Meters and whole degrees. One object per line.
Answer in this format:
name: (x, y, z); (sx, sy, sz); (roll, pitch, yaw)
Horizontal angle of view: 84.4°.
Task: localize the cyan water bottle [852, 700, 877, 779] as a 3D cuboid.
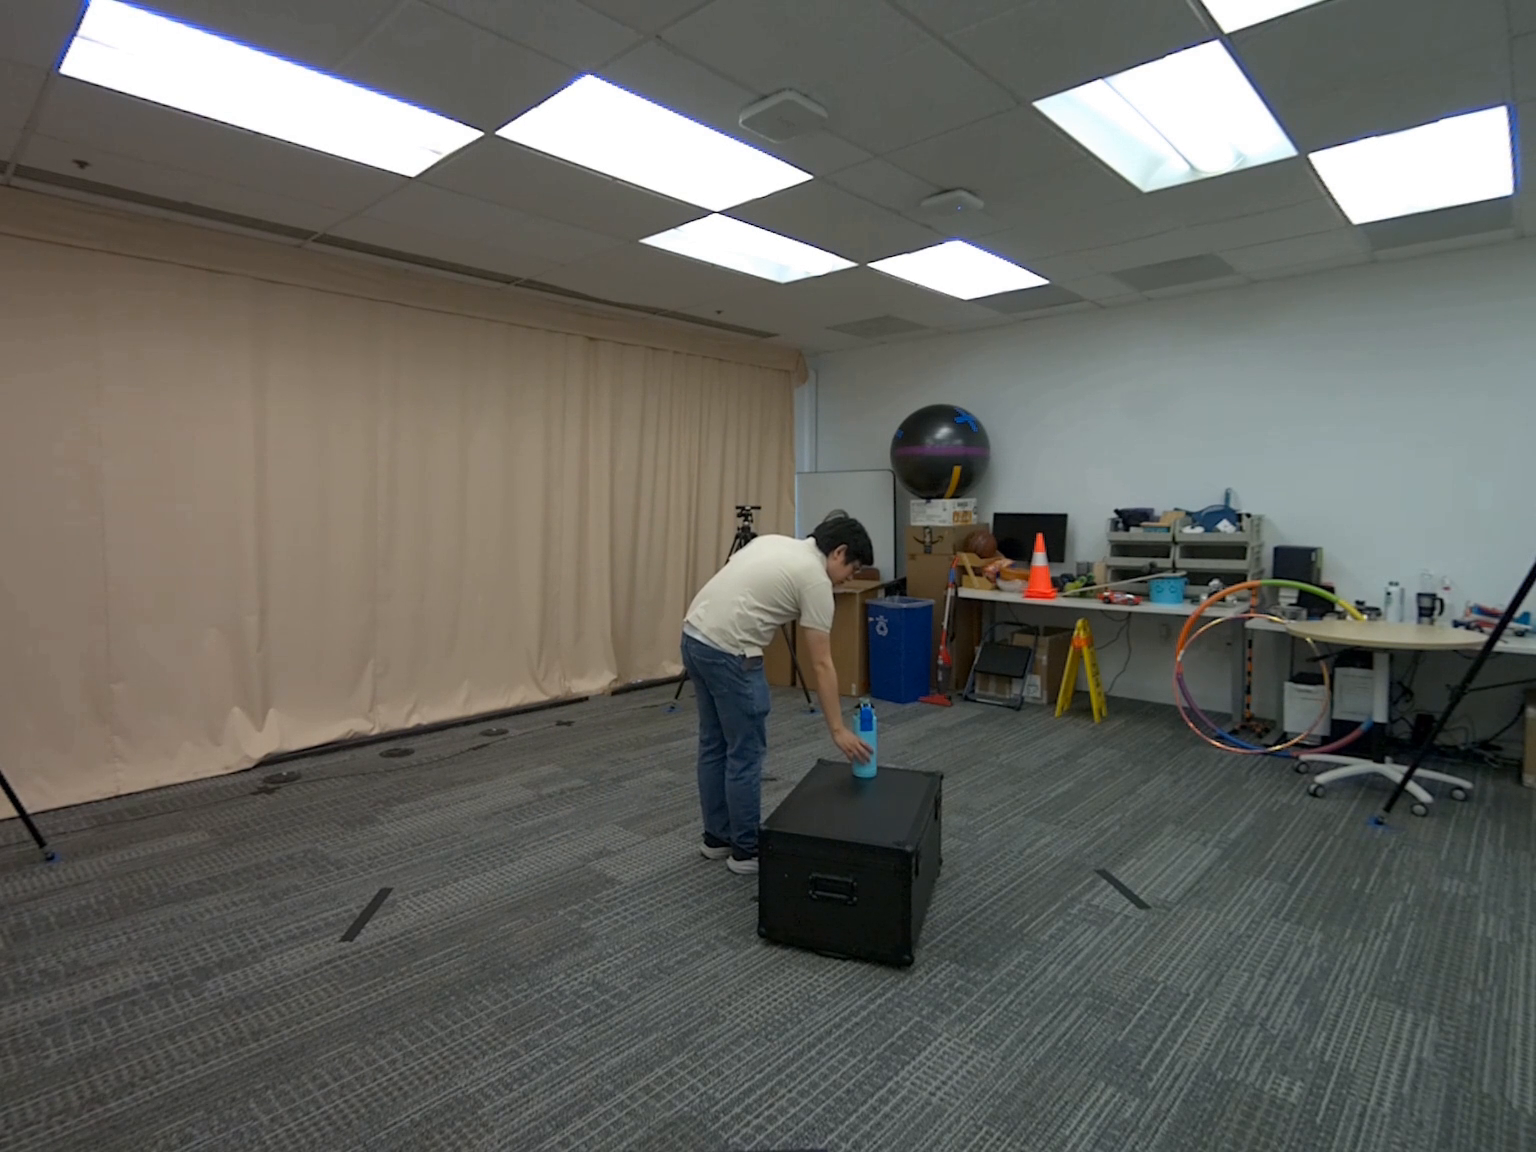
cyan water bottle: (0.374, 0.614, 3.180); (0.092, 0.283, 0.092); (0, 3, -2)
